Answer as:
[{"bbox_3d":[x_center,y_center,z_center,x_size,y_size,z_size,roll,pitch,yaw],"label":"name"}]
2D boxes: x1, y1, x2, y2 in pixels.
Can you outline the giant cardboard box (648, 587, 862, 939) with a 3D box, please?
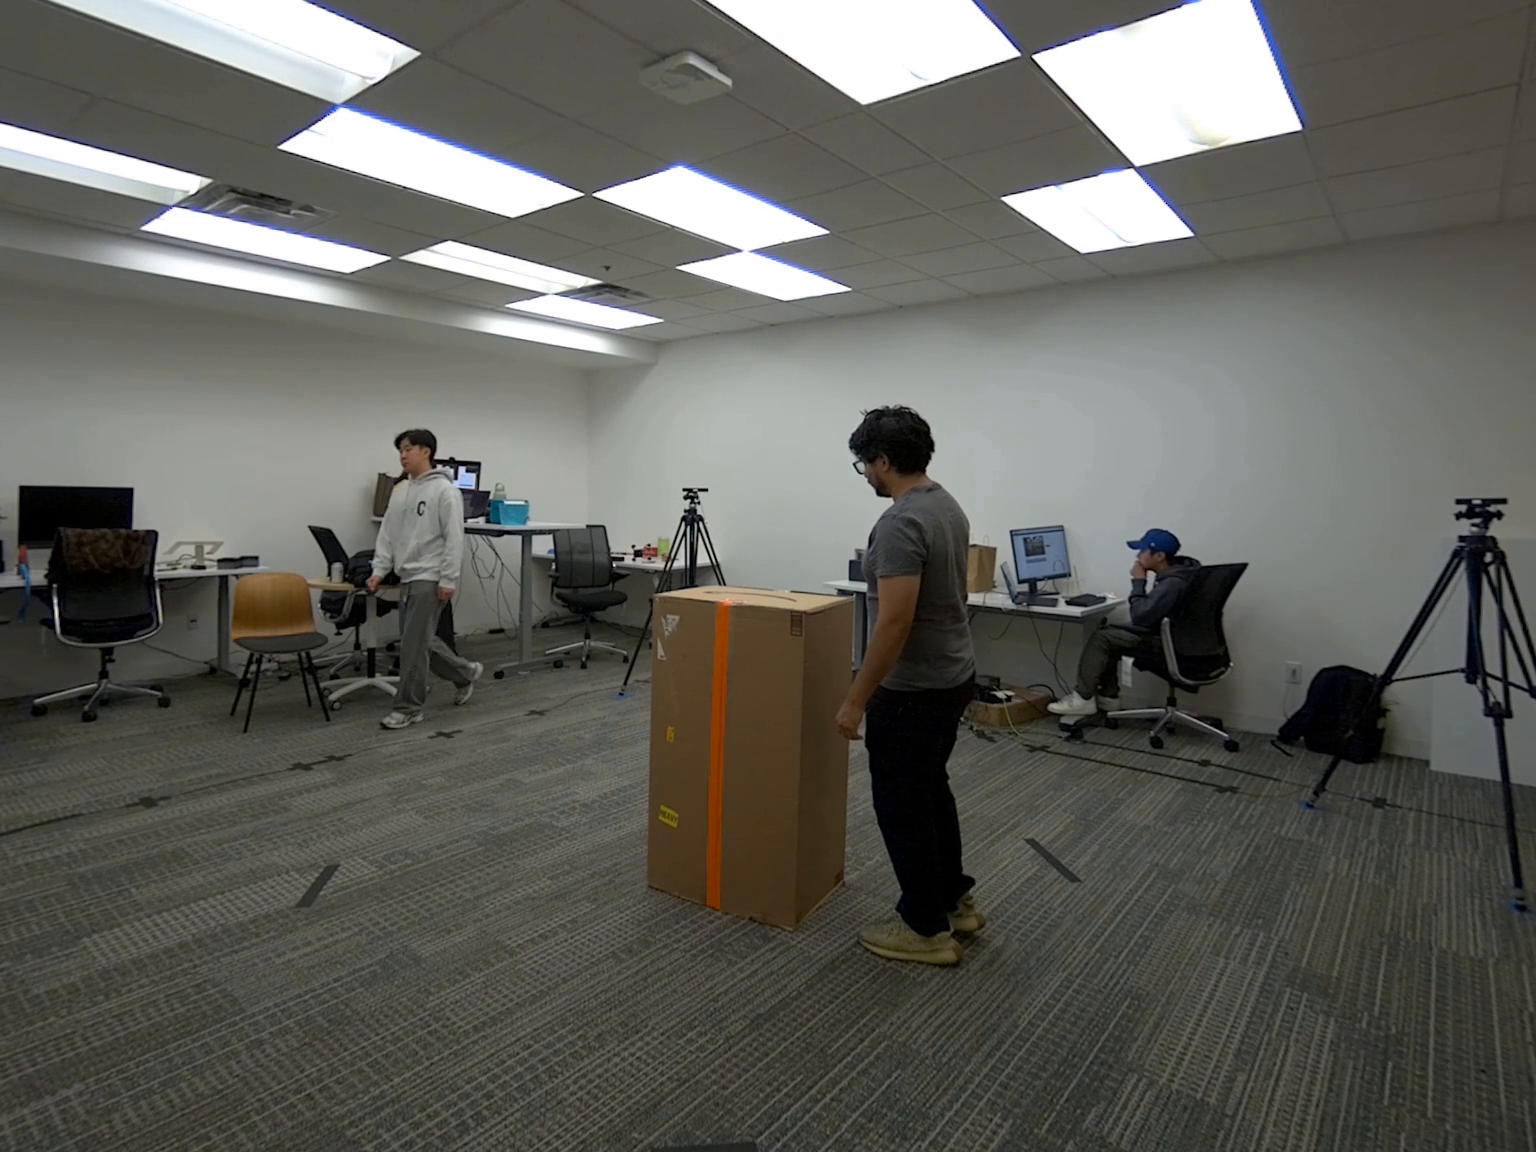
[{"bbox_3d":[-0.072,0.581,2.973,0.601,1.025,0.435,3,3,29],"label":"giant cardboard box"}]
